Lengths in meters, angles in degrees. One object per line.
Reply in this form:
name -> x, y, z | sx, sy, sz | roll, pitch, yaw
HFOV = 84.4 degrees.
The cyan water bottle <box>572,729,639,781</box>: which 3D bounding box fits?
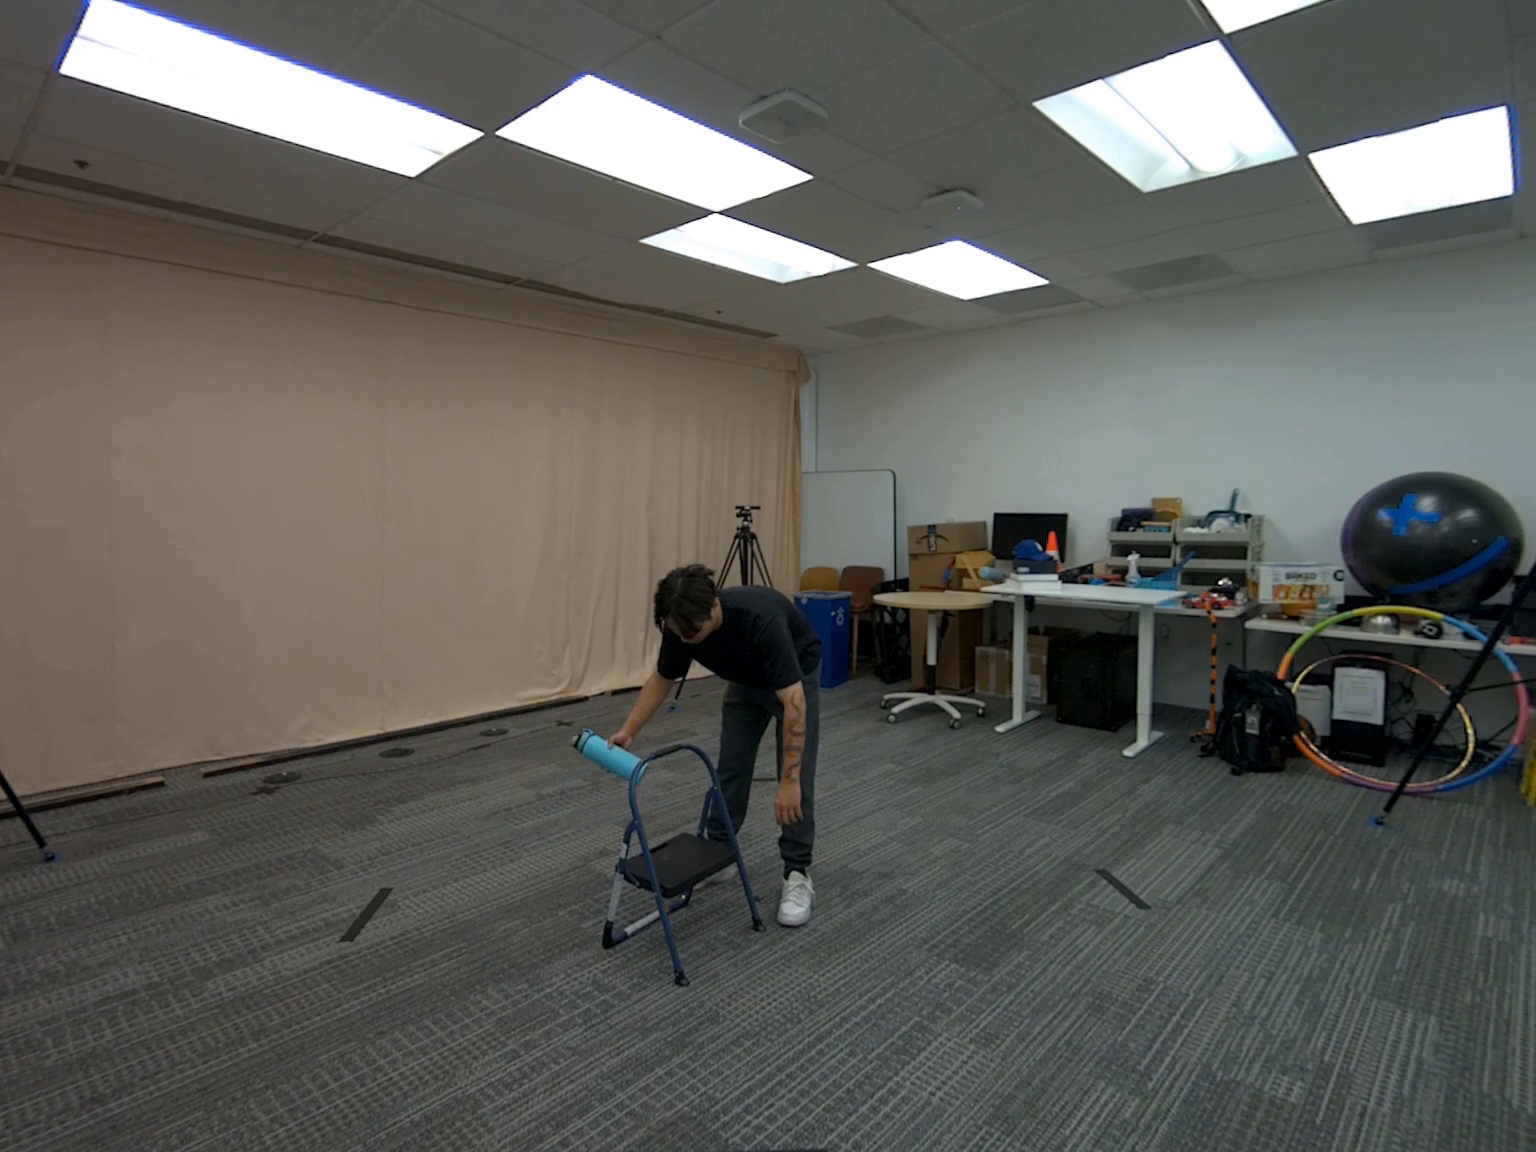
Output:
cyan water bottle -> -0.562, 0.649, 2.999 | 0.287, 0.092, 0.091 | 27, 8, 9
